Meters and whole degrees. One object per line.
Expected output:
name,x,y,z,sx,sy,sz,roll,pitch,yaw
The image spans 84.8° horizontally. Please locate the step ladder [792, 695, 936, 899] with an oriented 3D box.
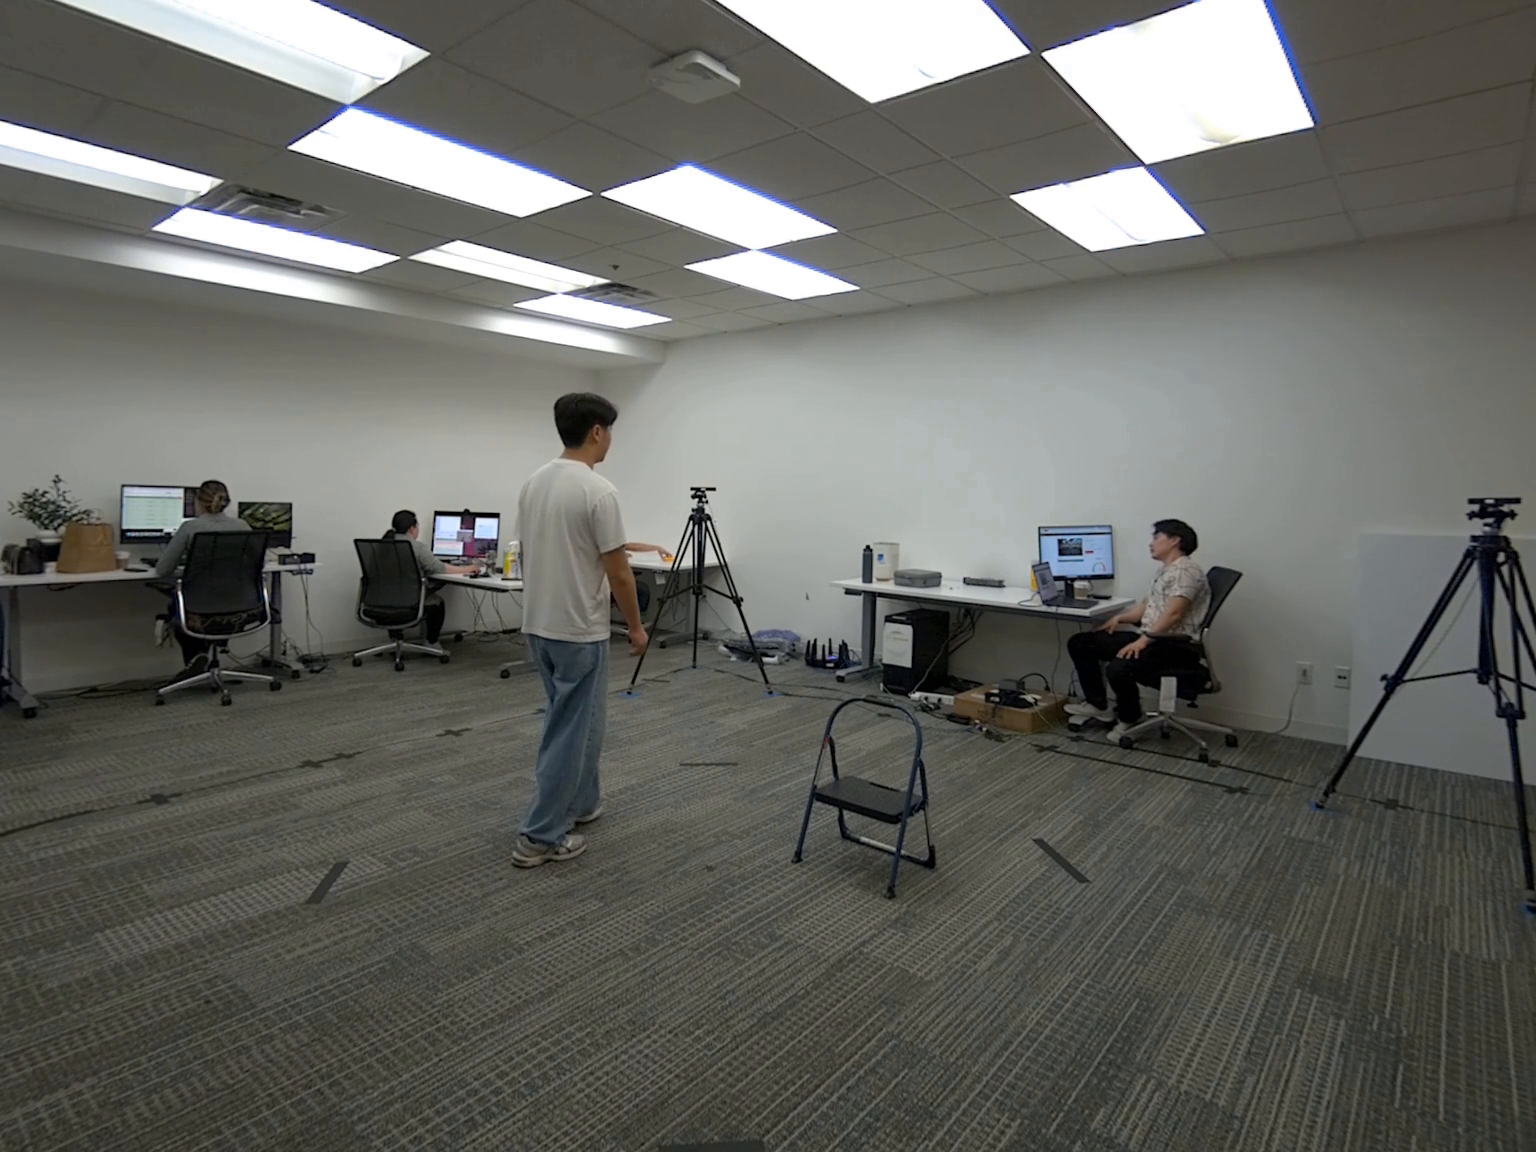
step ladder,0.362,0.771,3.156,0.445,0.604,0.339,4,5,39
